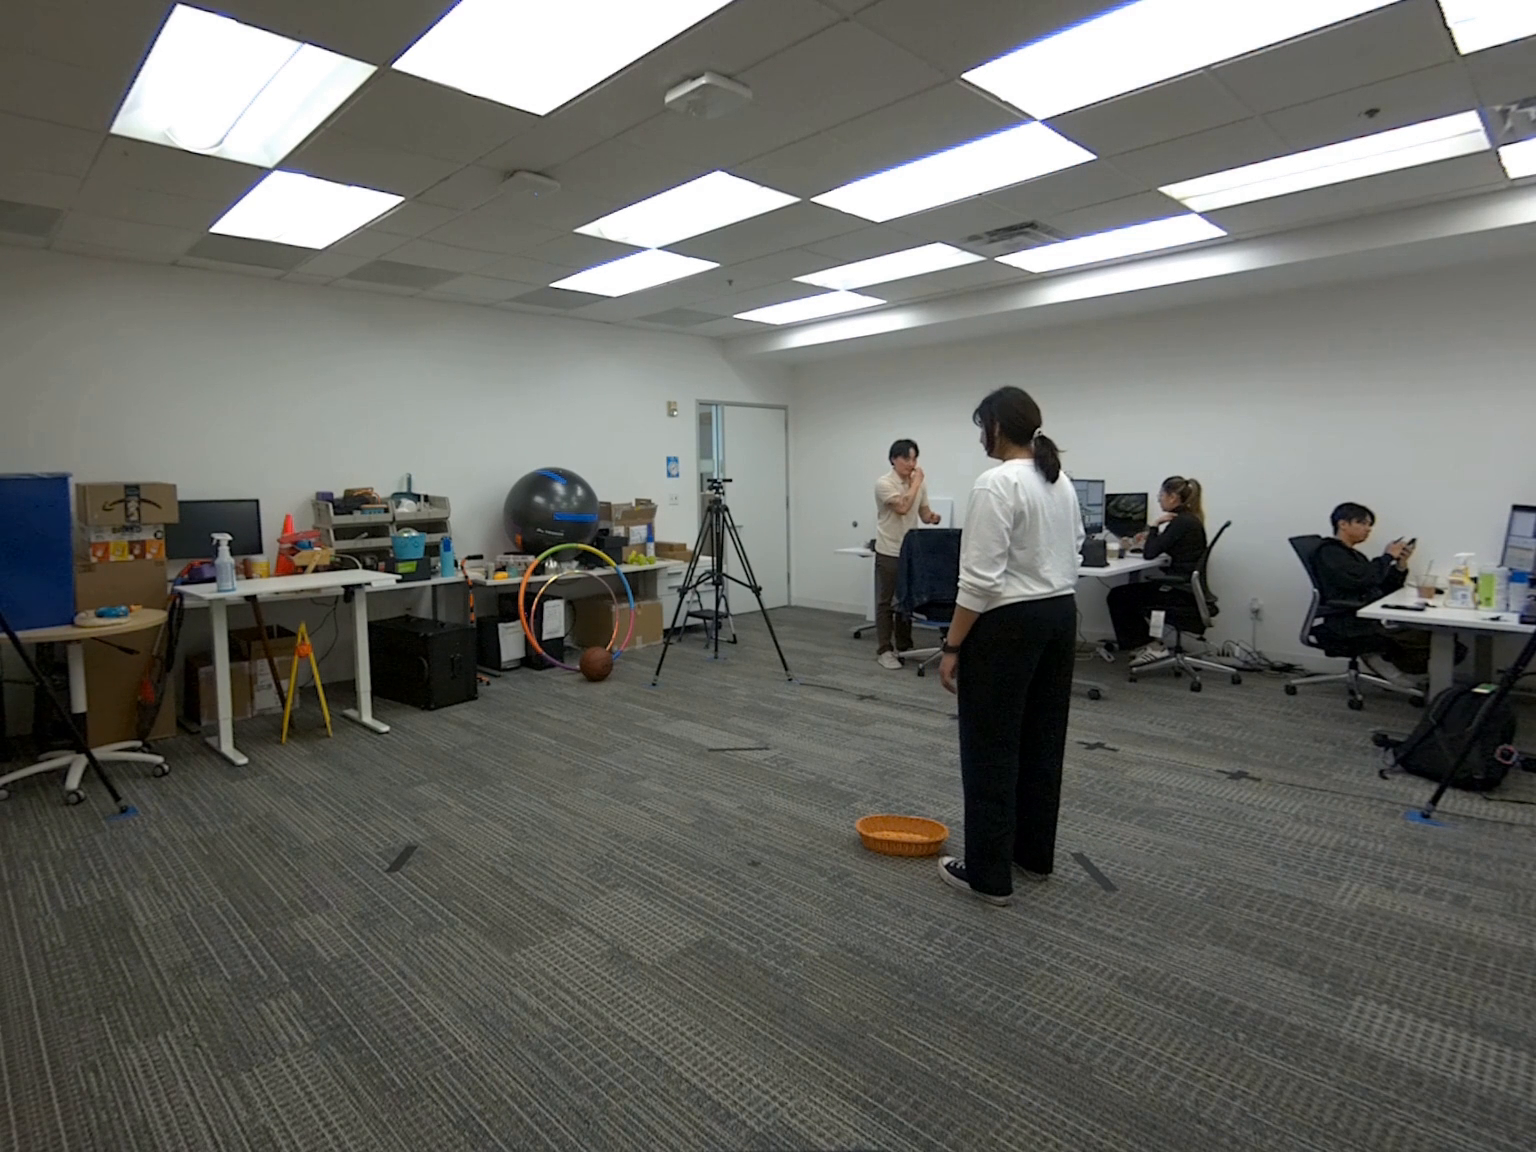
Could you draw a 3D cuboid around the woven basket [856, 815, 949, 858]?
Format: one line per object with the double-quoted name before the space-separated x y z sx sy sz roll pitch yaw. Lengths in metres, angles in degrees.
"woven basket" 0.501 0.981 3.238 0.356 0.073 0.249 1 5 17
